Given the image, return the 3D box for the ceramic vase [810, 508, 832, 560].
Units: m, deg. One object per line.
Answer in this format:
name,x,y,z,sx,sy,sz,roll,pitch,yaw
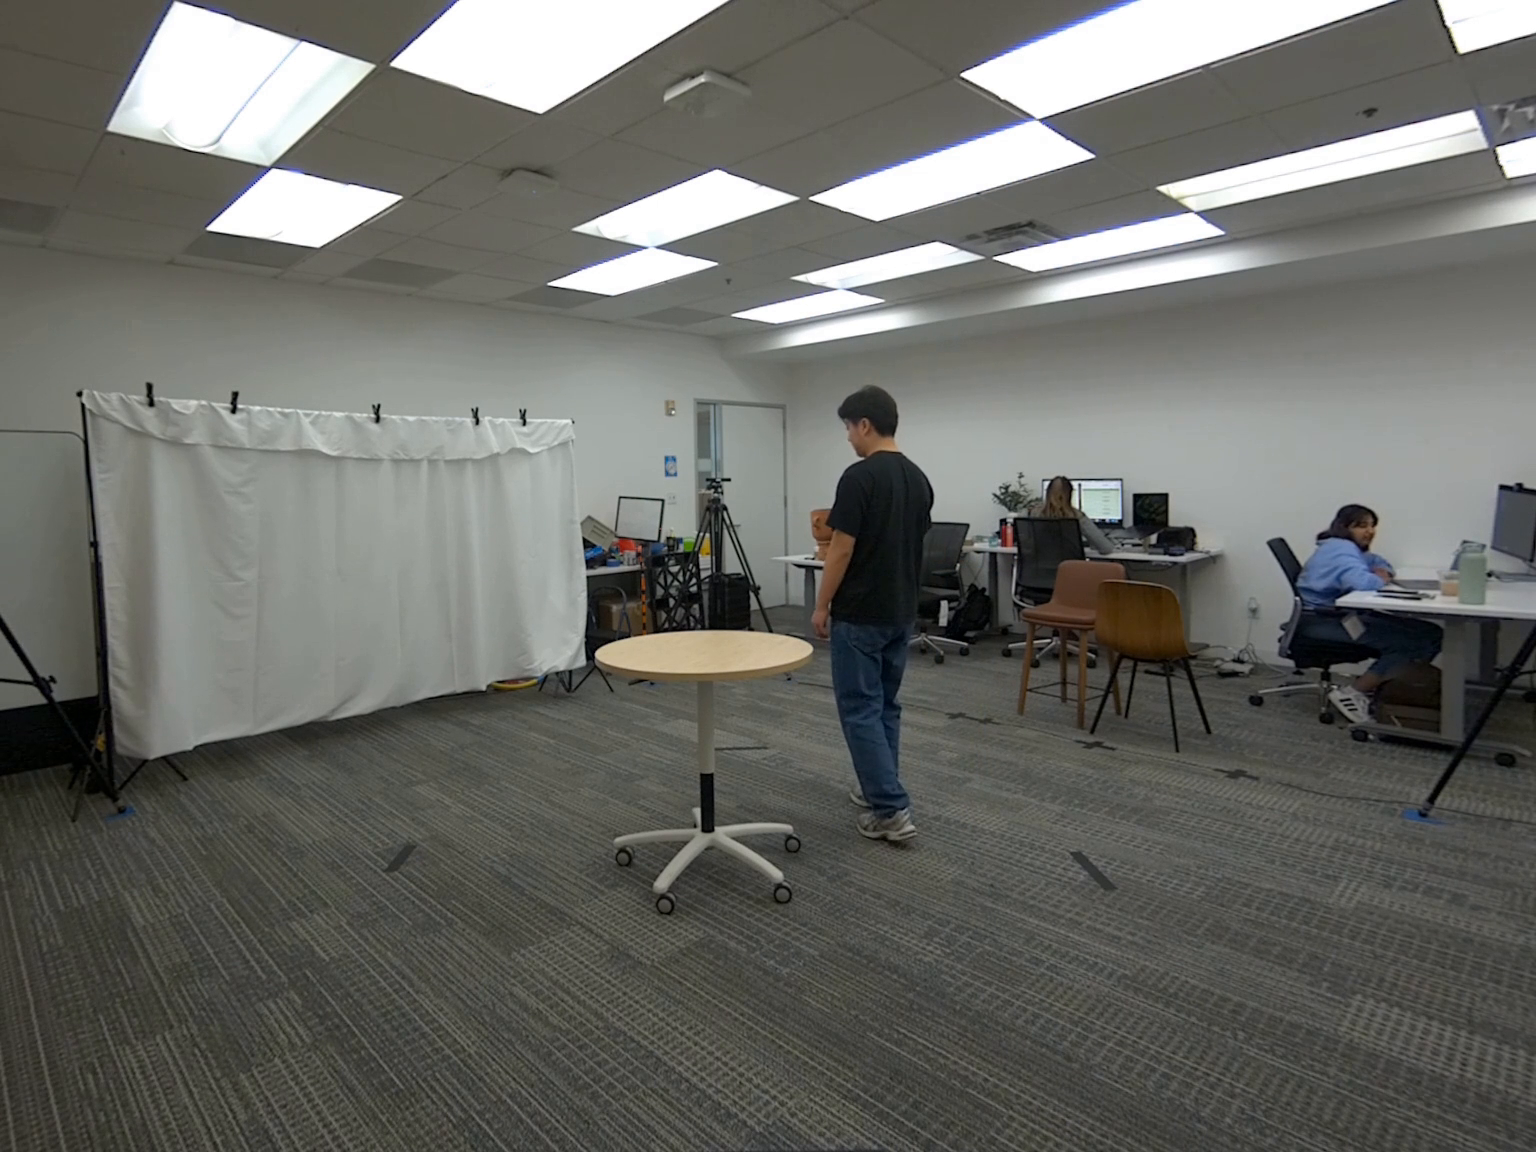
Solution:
ceramic vase,0.272,-0.180,3.709,0.157,0.219,0.136,-5,5,-11
